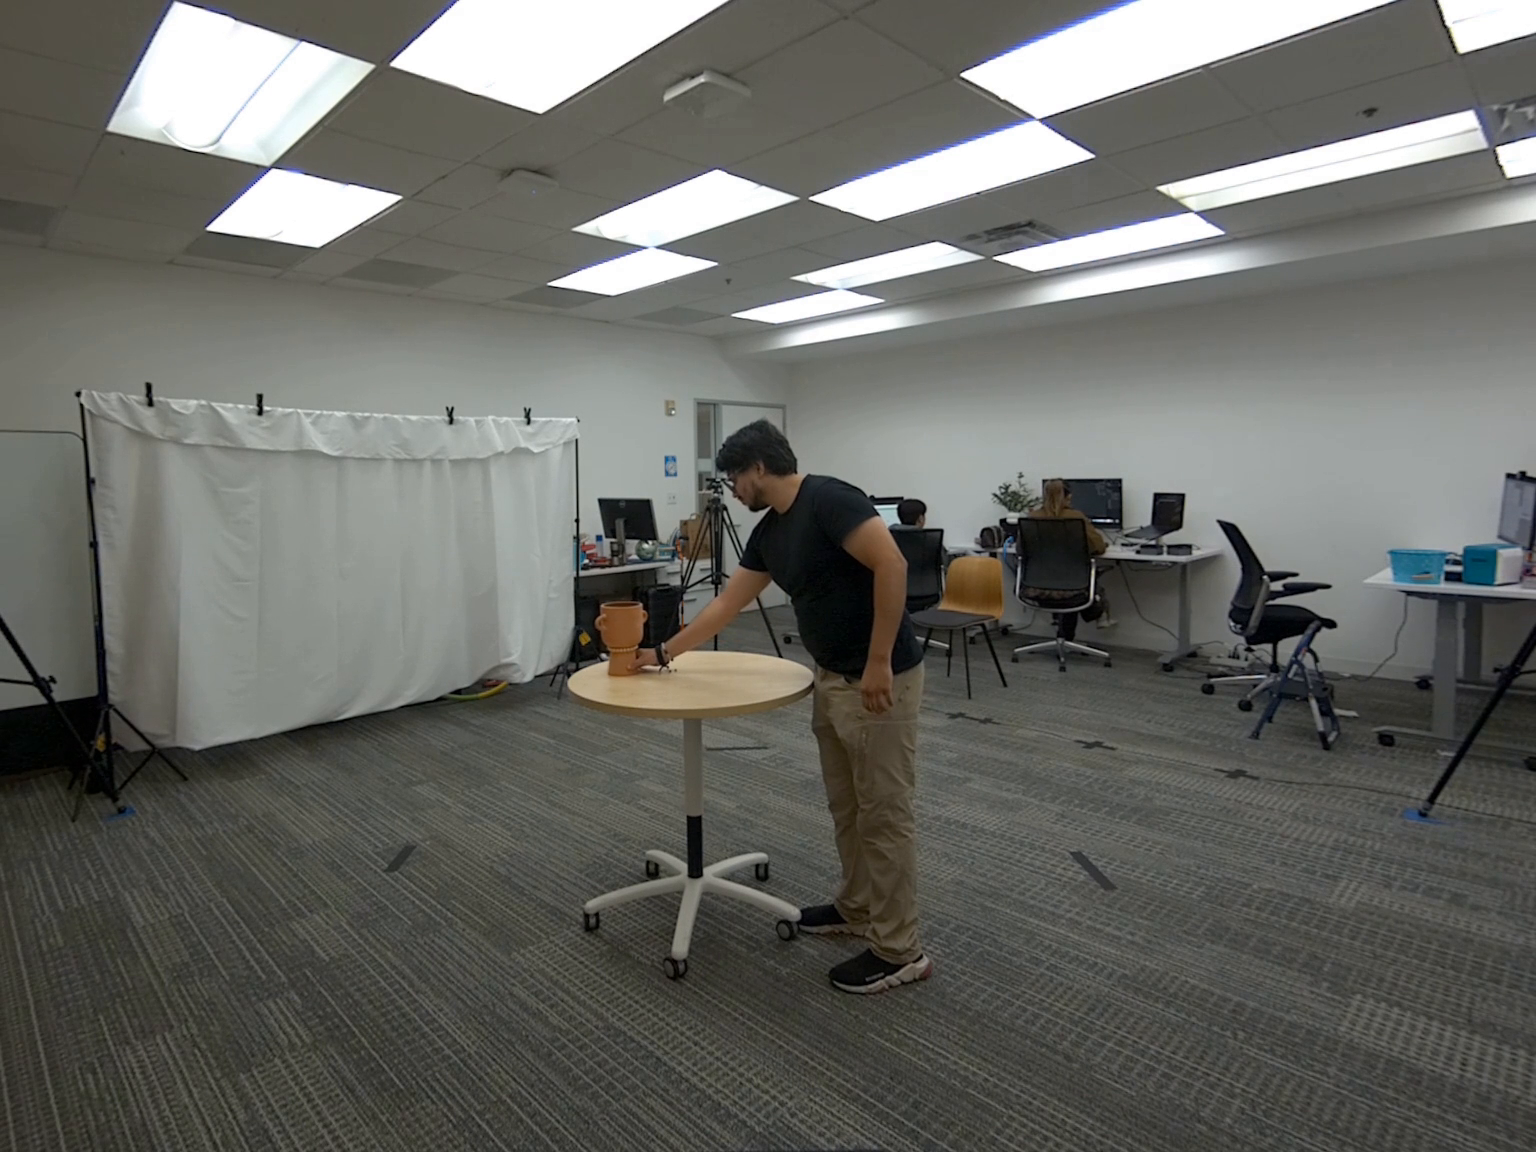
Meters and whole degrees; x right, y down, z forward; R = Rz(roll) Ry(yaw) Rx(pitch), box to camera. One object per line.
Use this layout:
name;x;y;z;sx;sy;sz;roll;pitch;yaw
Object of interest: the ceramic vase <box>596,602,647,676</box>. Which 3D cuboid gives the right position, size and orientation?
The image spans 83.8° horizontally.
ceramic vase;-0.451;0.197;2.734;0.158;0.219;0.136;-2;5;-6
